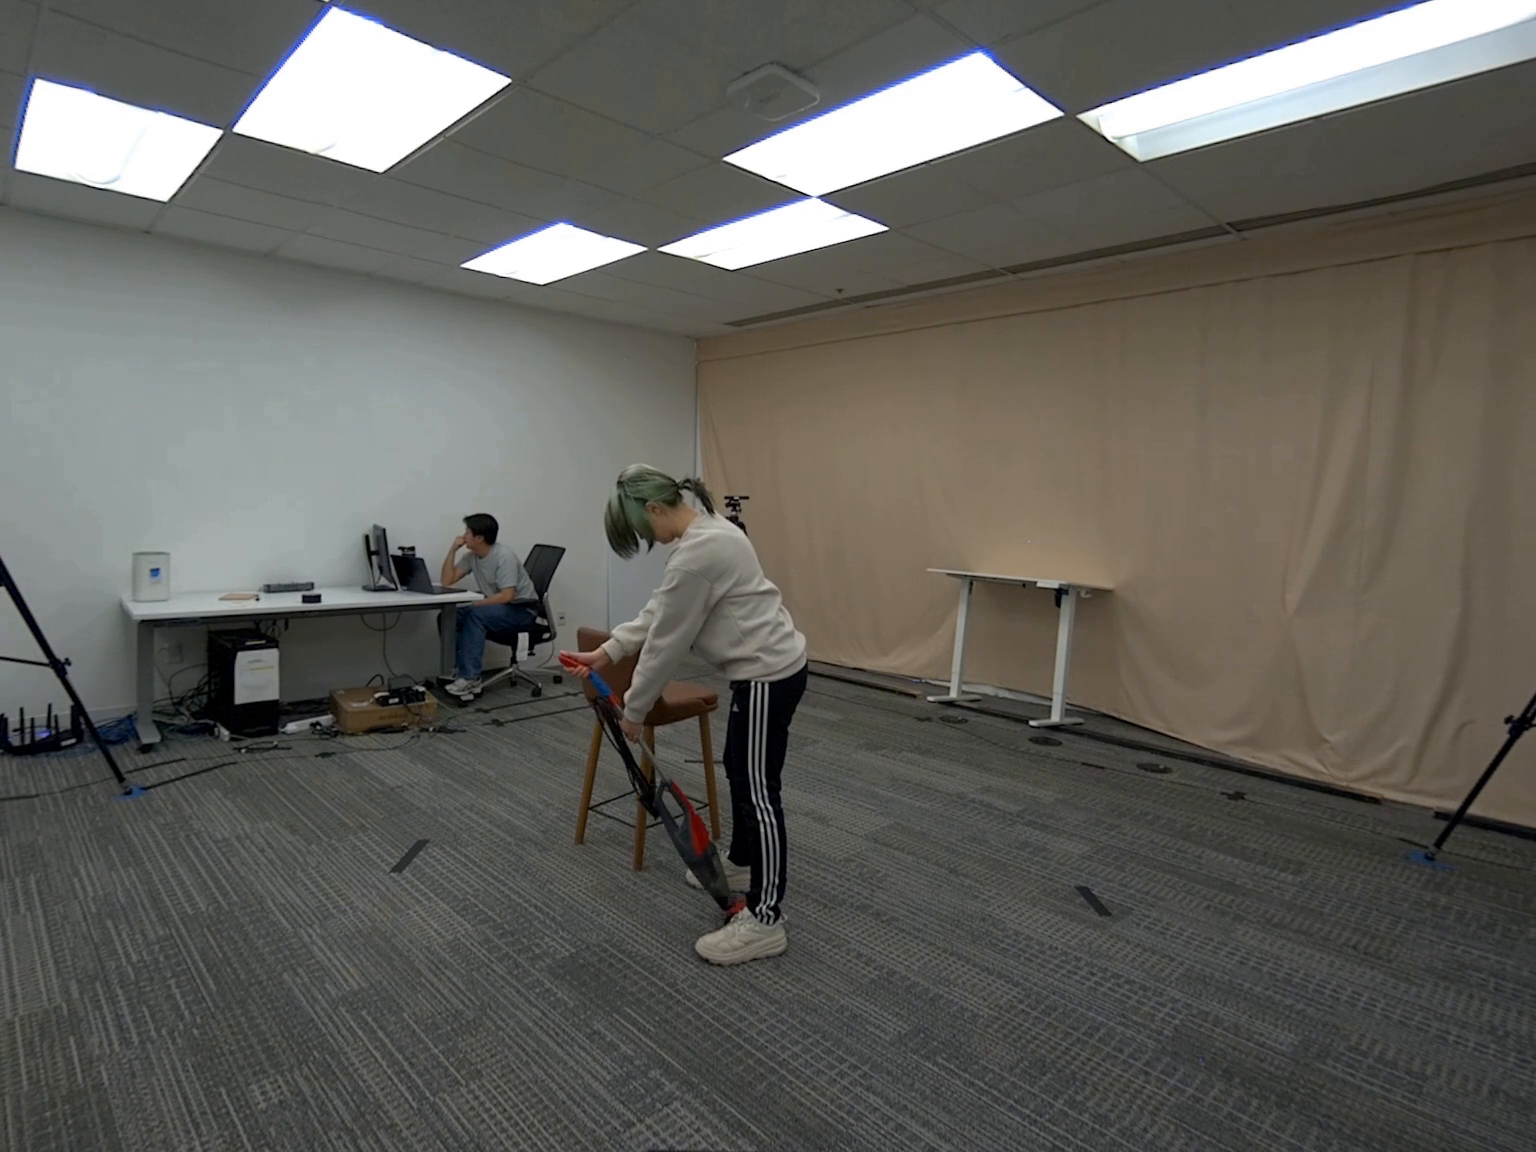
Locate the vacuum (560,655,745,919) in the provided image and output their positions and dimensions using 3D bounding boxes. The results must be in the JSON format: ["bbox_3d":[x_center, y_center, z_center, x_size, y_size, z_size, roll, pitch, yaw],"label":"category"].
[{"bbox_3d":[-0.386,0.692,2.742,0.144,1.044,0.254,-36,5,-4],"label":"vacuum"}]
